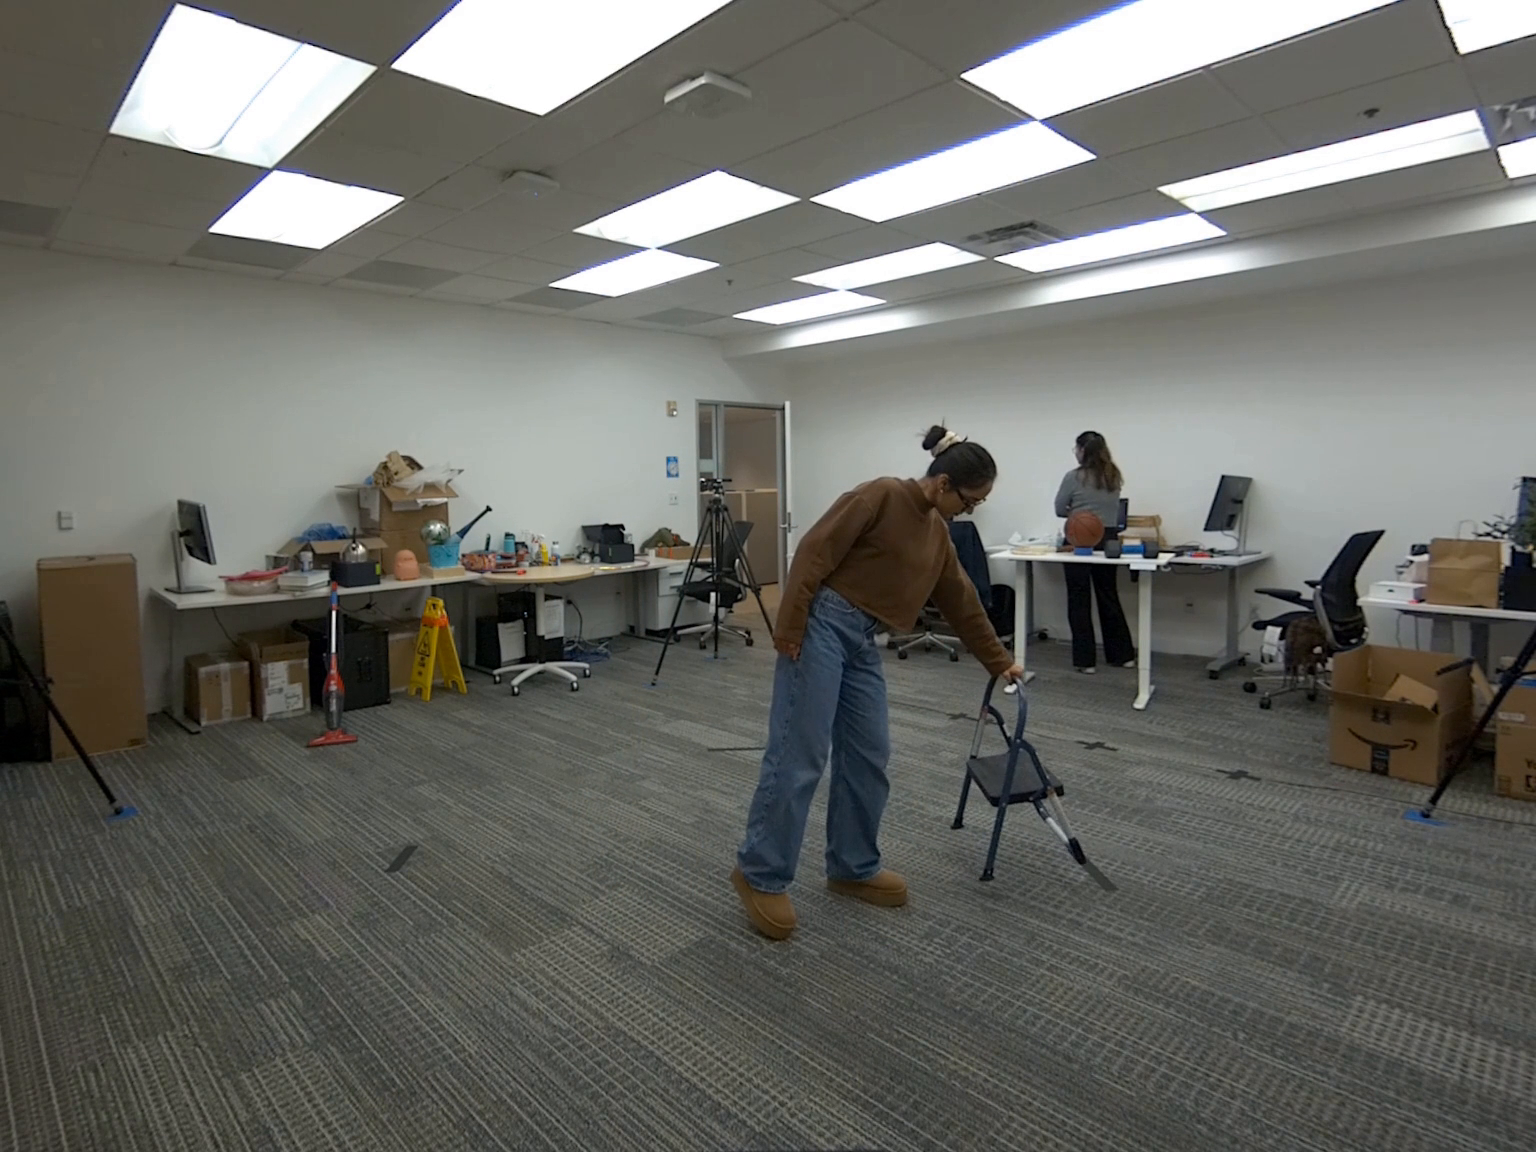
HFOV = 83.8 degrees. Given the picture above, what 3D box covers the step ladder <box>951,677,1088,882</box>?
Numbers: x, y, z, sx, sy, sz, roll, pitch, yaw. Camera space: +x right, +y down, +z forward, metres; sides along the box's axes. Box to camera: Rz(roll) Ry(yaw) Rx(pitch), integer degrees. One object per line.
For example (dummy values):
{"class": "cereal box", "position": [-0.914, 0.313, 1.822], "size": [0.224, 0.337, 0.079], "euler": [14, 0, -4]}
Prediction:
{"class": "step ladder", "position": [0.819, 0.654, 2.964], "size": [0.349, 0.603, 0.433], "euler": [-10, 5, 0]}
